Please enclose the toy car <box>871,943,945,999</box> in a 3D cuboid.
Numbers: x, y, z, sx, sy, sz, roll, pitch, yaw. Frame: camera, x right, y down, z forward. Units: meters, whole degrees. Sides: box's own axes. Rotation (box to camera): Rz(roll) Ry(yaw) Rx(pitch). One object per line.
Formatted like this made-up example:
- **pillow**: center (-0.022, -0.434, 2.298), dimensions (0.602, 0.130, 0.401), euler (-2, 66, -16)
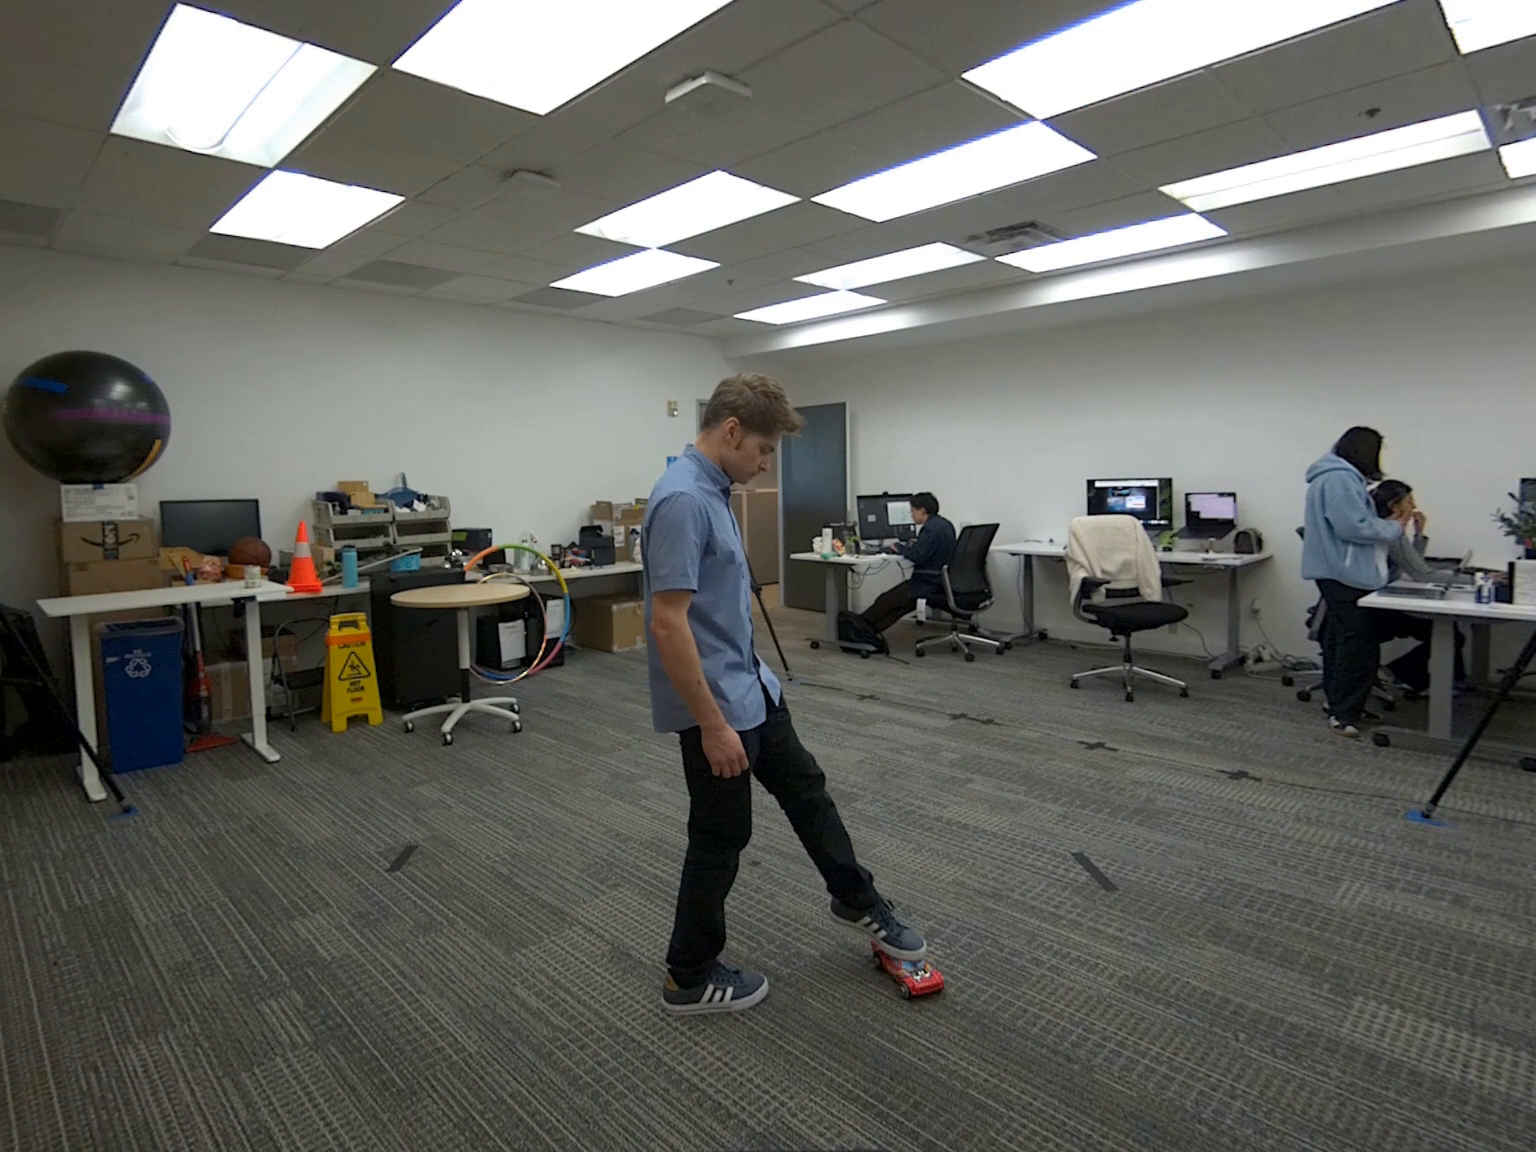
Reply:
- **toy car**: center (0.387, 1.092, 2.390), dimensions (0.128, 0.082, 0.262), euler (-5, 17, -19)
